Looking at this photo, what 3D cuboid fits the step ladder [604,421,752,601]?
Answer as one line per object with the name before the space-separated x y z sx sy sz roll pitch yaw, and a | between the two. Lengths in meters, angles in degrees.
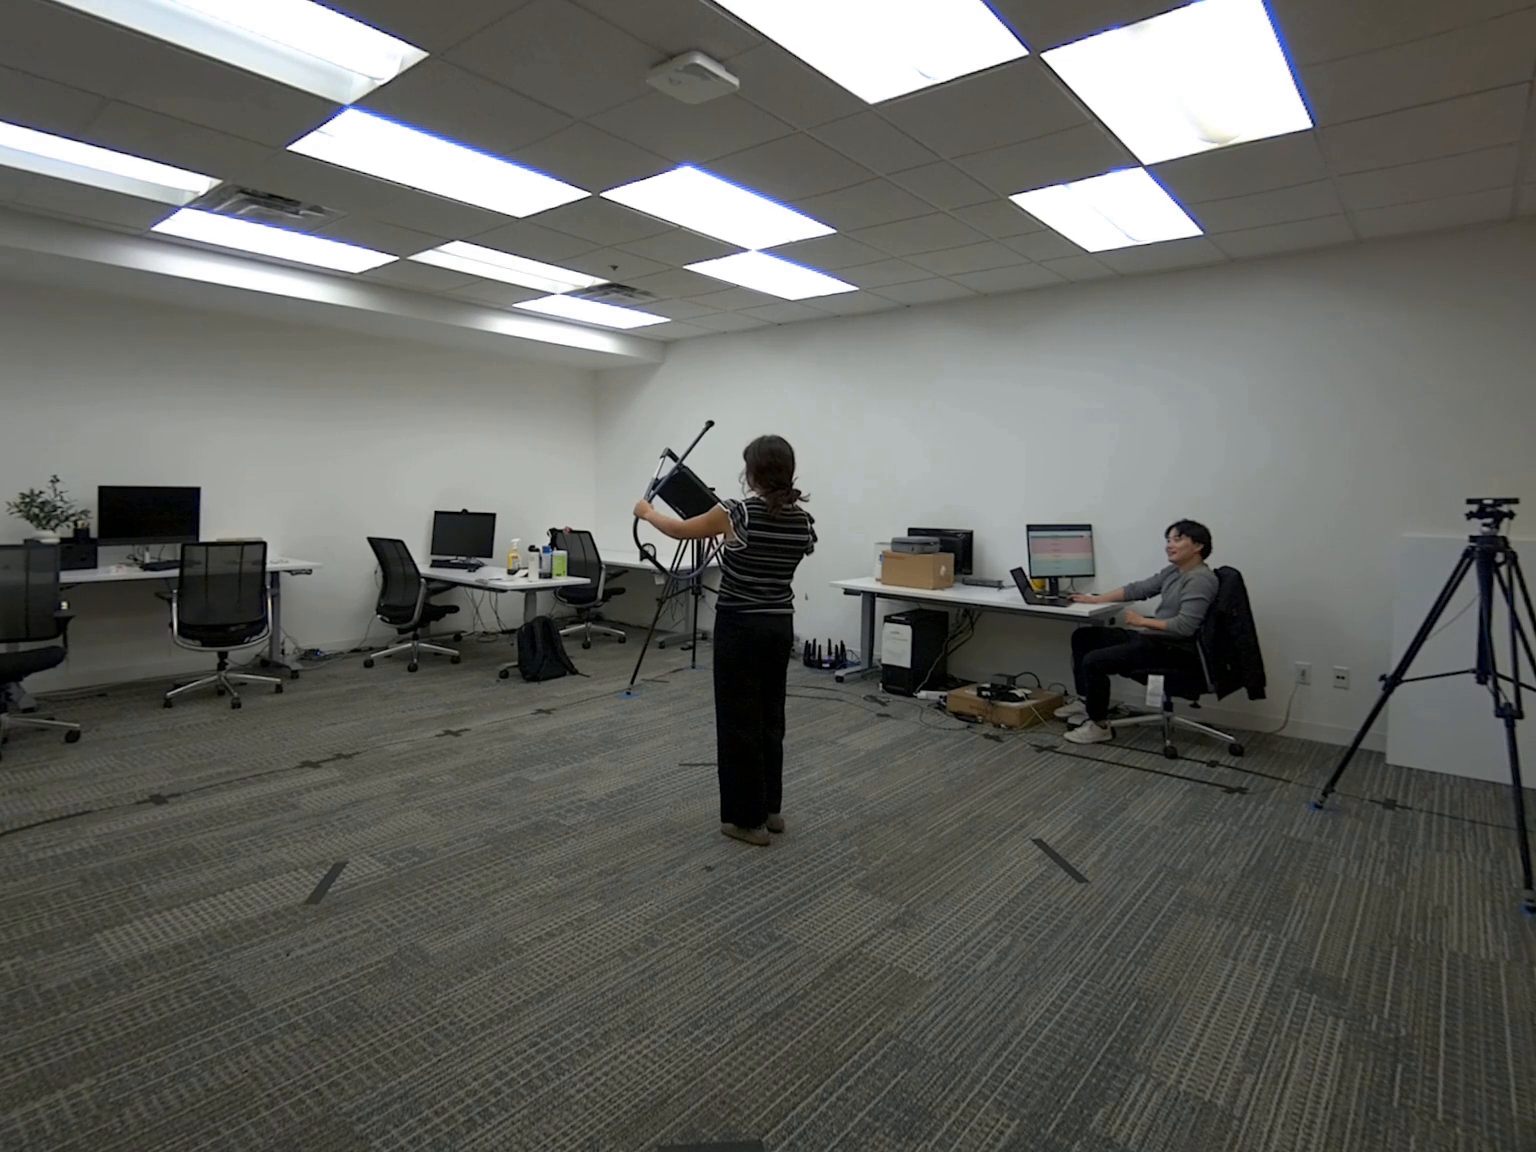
step ladder | -0.350 -0.294 3.777 0.419 0.613 0.355 44 -41 -22
